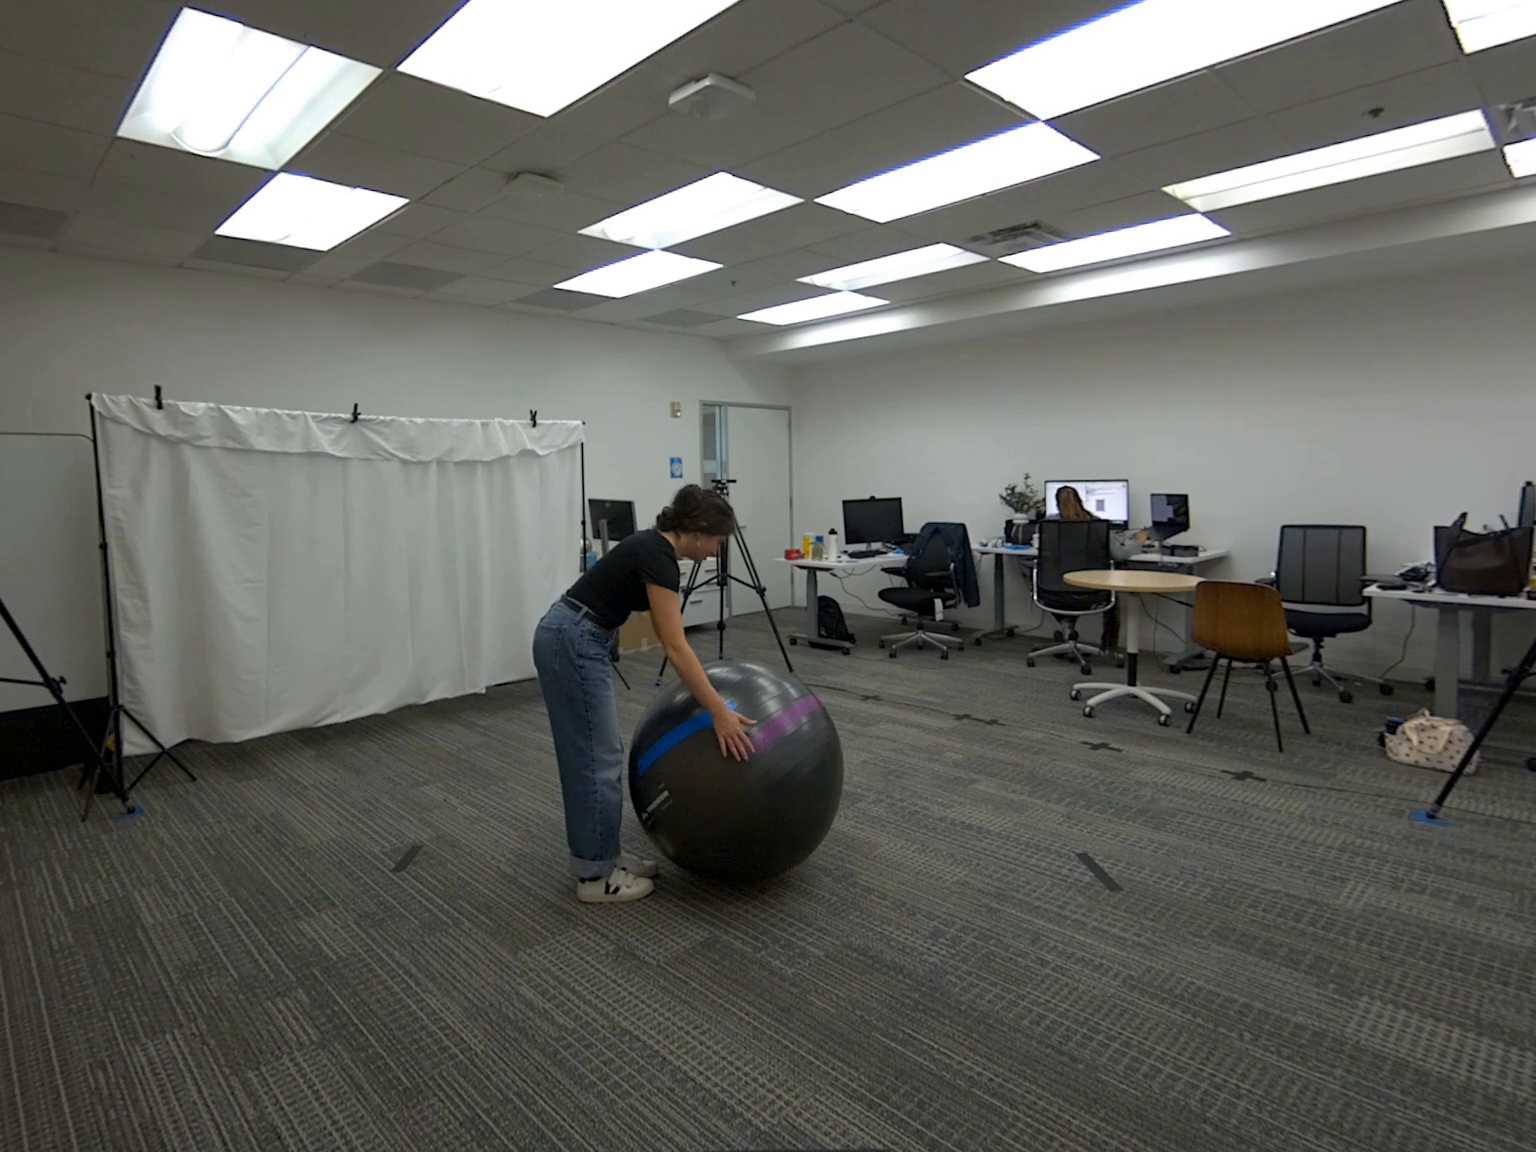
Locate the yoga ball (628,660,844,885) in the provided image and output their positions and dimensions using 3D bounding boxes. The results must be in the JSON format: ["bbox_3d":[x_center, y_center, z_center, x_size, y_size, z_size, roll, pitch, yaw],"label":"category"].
[{"bbox_3d":[-0.104,0.676,3.011,0.757,0.755,0.762,-1,5,-2],"label":"yoga ball"}]
